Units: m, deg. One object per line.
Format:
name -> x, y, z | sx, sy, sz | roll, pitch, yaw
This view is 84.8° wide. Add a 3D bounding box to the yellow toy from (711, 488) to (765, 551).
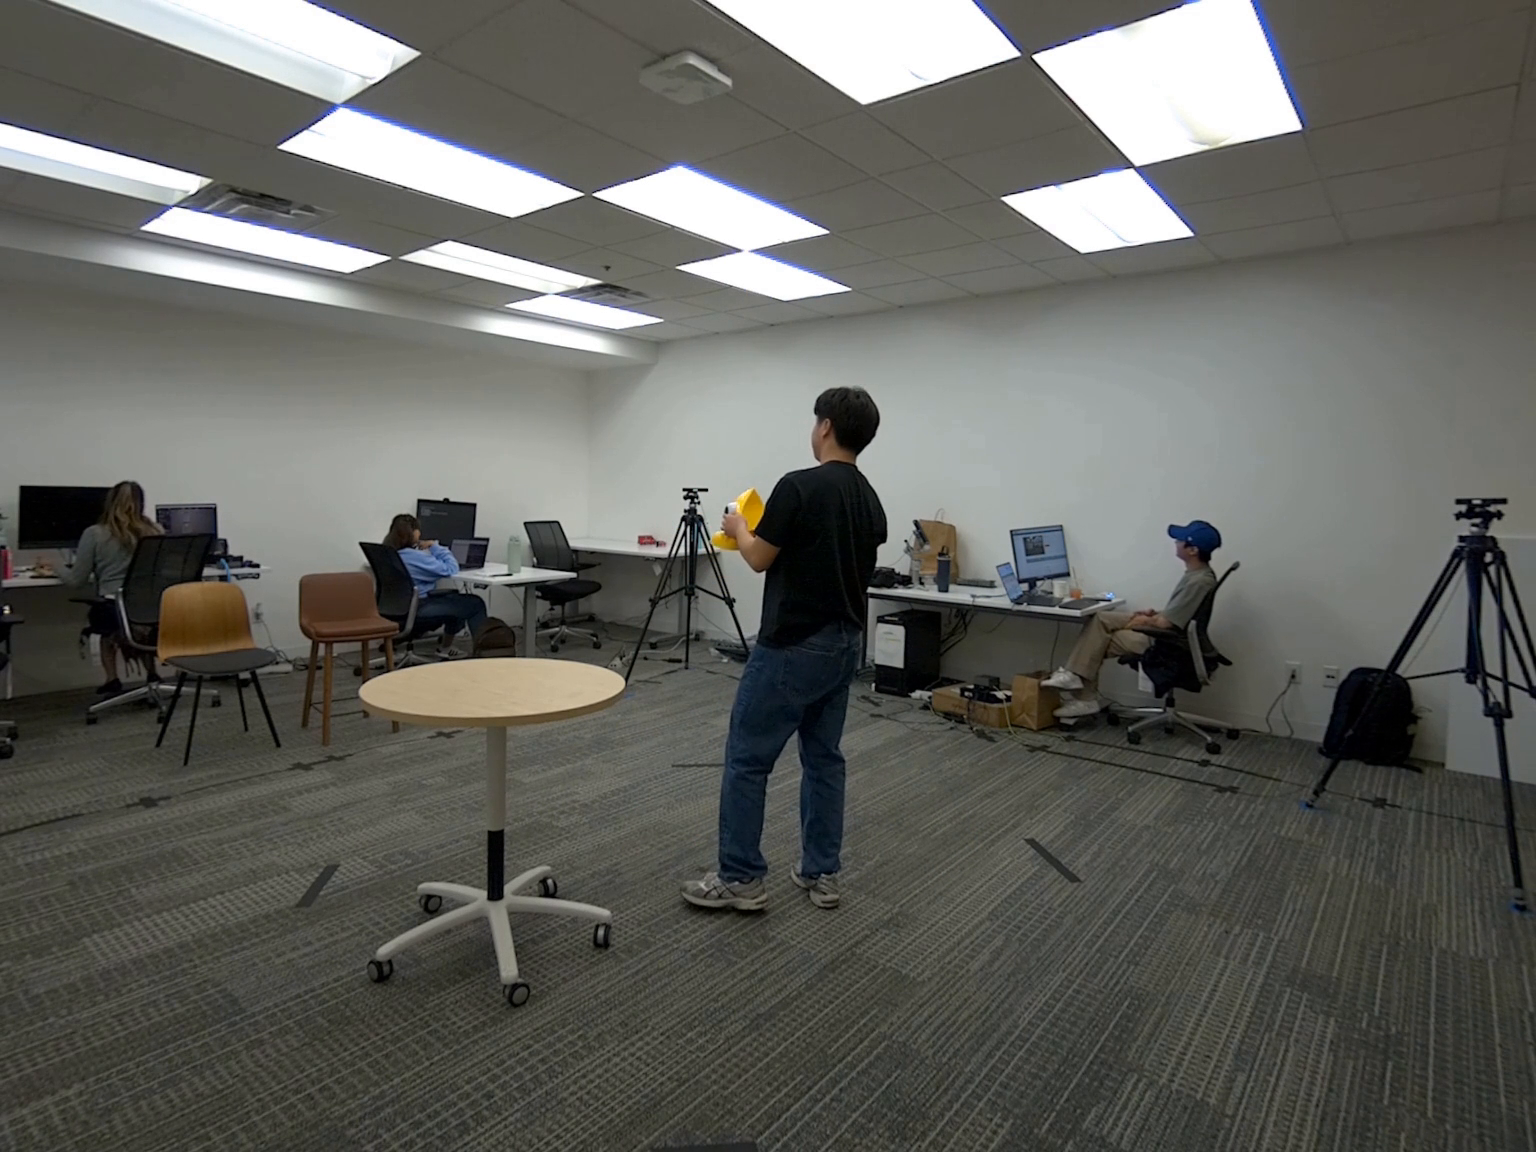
yellow toy -> -0.113, -0.222, 3.221 | 0.200, 0.228, 0.200 | 16, 20, 41
